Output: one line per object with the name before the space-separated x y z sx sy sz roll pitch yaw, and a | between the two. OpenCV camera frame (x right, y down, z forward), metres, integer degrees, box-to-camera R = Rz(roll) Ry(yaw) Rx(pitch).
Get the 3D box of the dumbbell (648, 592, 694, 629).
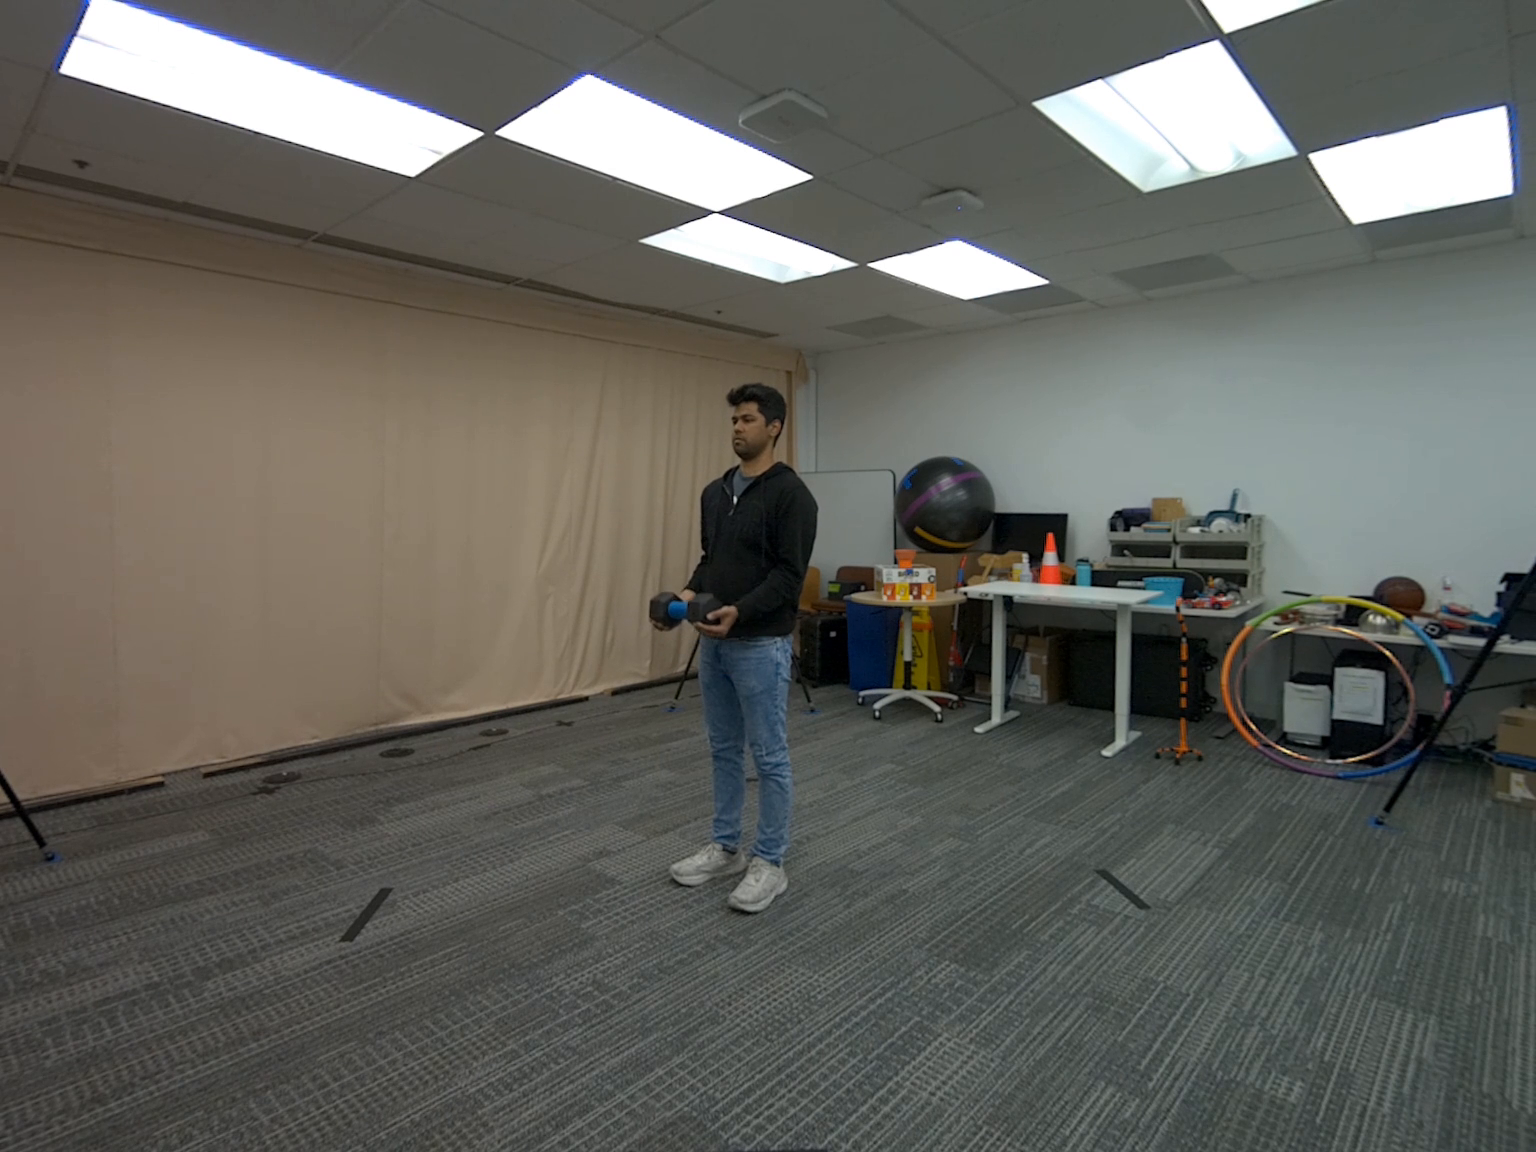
dumbbell | -0.268 0.107 2.873 0.105 0.123 0.303 10 -5 -42
